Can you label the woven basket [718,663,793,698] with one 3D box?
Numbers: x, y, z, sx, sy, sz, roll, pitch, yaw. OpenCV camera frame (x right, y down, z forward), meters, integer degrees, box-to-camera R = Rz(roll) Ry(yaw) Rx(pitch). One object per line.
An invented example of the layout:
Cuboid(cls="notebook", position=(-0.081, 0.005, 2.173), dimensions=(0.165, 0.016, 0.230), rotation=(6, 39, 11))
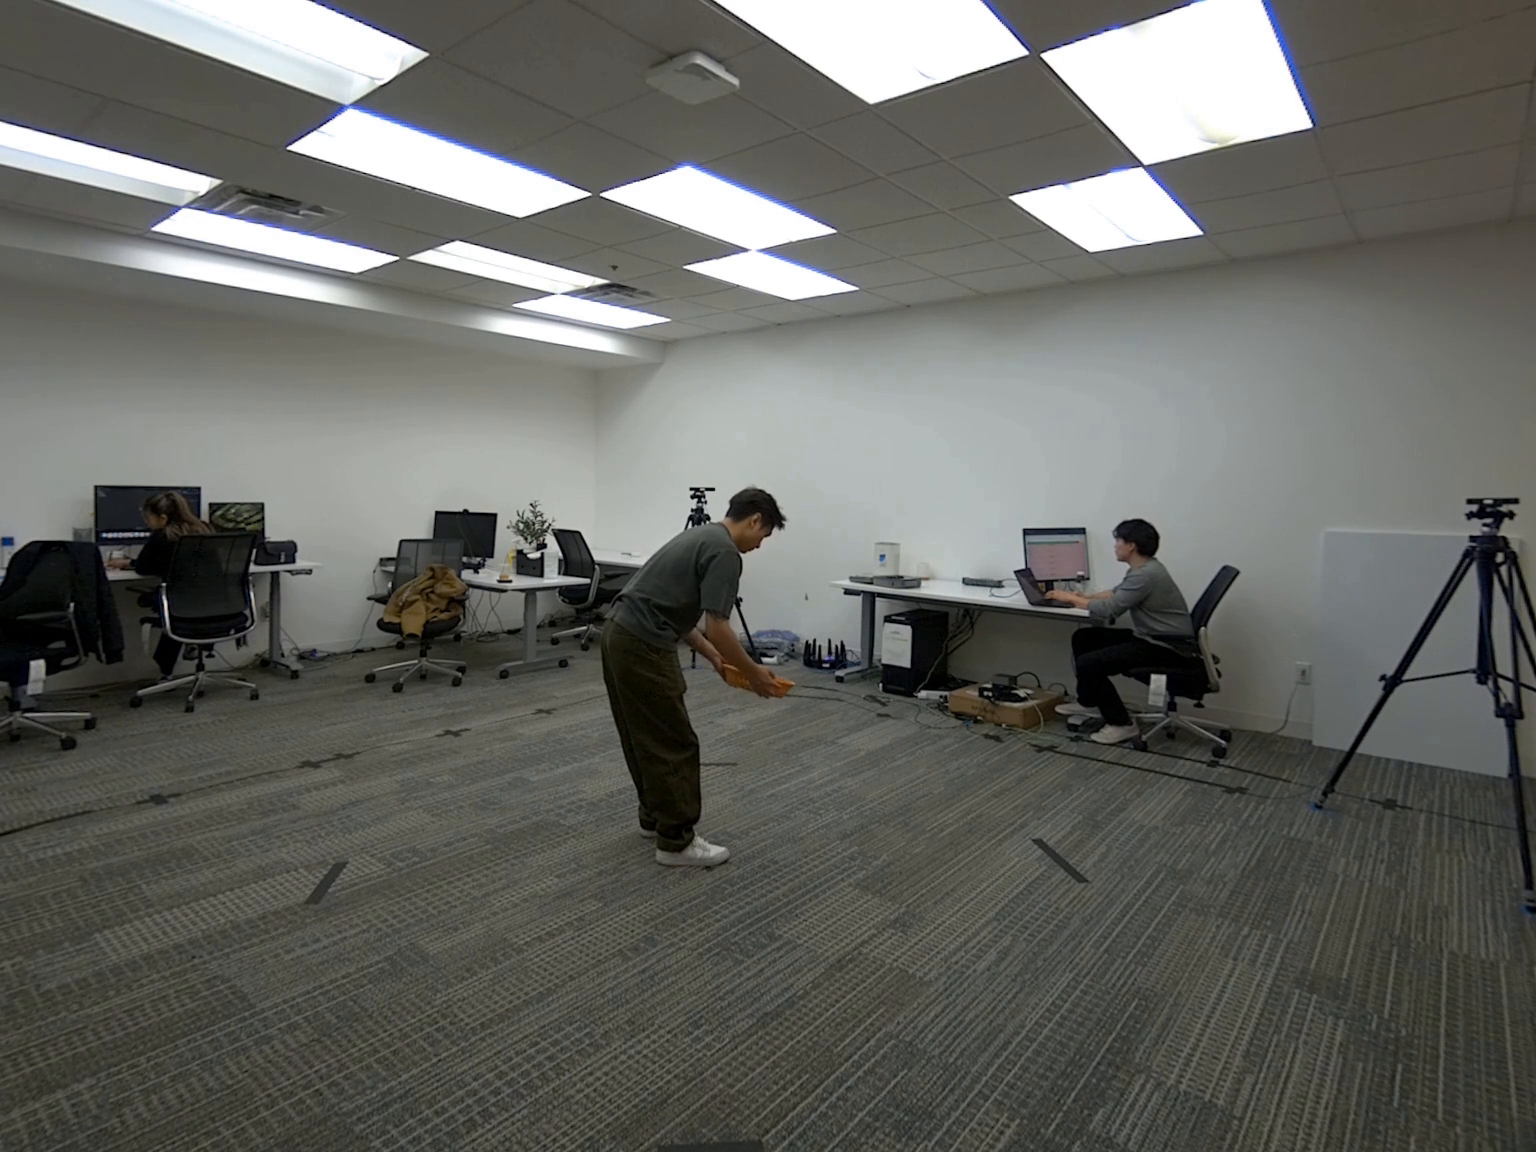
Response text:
Cuboid(cls="woven basket", position=(-0.055, 0.424, 3.418), dimensions=(0.244, 0.073, 0.360), rotation=(15, -4, -30))
